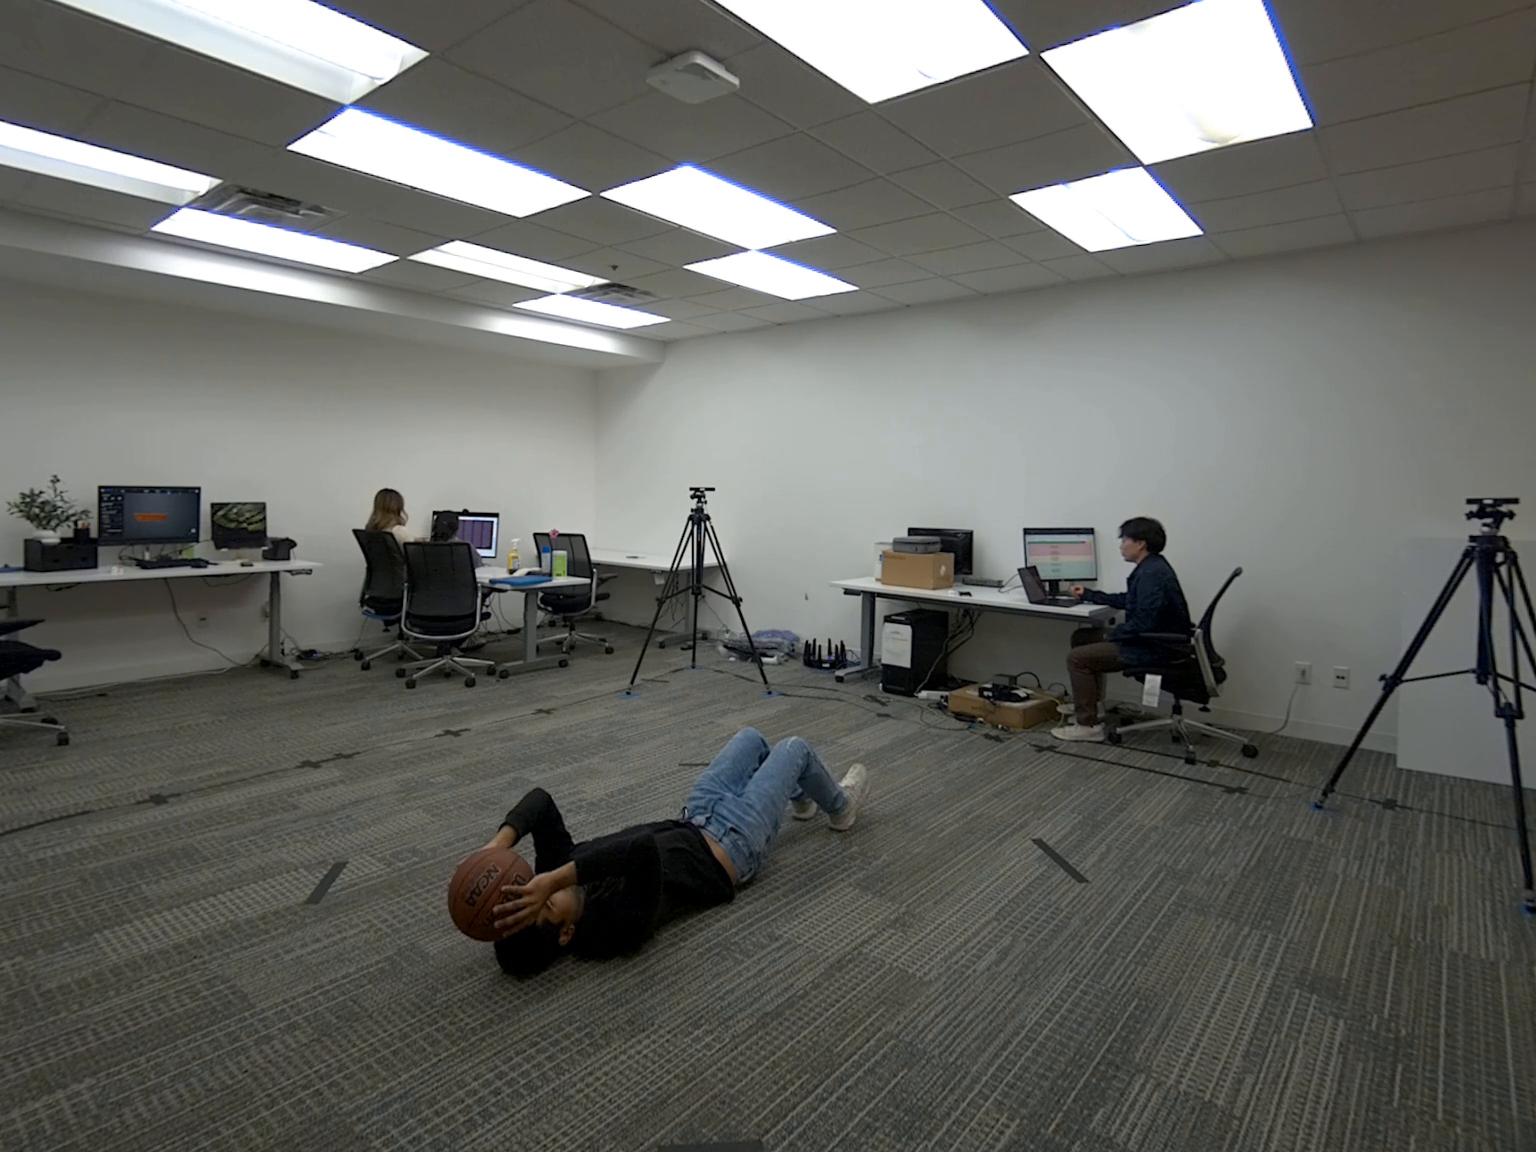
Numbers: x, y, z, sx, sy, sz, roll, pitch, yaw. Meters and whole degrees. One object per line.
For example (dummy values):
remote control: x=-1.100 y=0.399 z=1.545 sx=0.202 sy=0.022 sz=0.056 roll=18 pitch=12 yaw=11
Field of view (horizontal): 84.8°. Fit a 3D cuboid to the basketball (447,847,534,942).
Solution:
basketball: x=-0.758 y=0.849 z=2.353 sx=0.235 sy=0.235 sz=0.237 roll=1 pitch=4 yaw=-2
